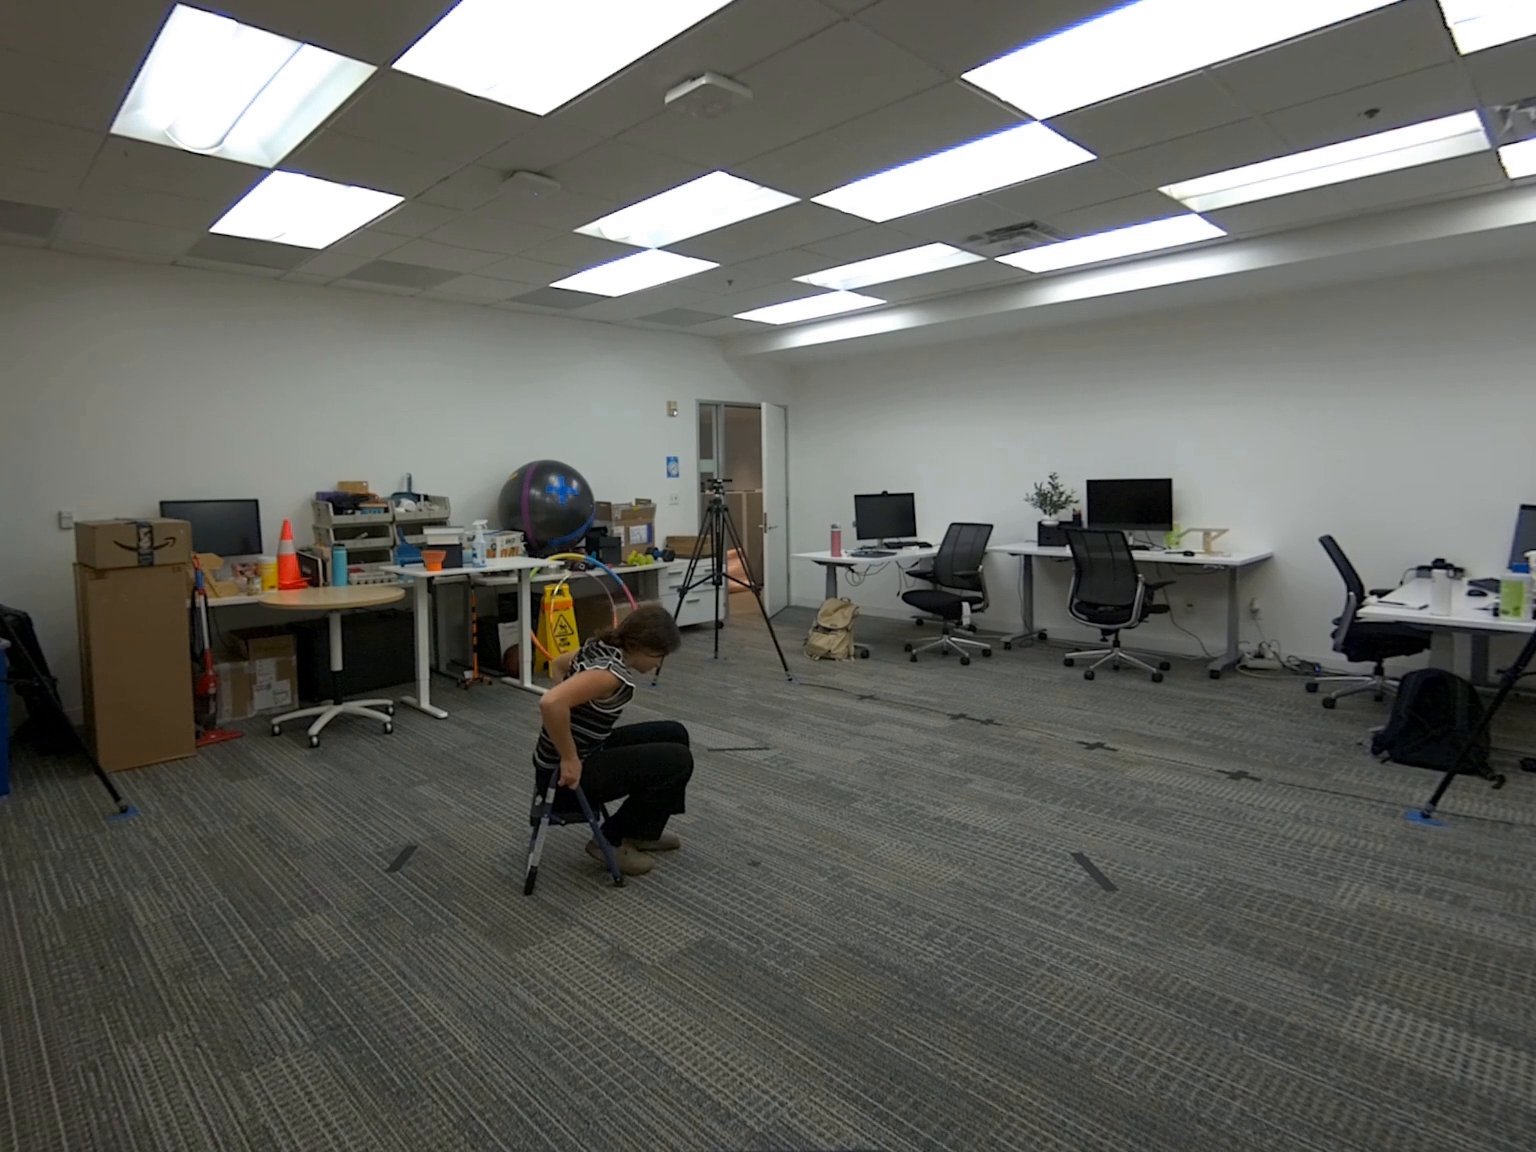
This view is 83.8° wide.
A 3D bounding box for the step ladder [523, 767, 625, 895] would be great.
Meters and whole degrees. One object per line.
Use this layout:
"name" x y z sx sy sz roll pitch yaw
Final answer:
"step ladder" -0.714 0.767 3.106 0.345 0.604 0.437 -2 4 -12
